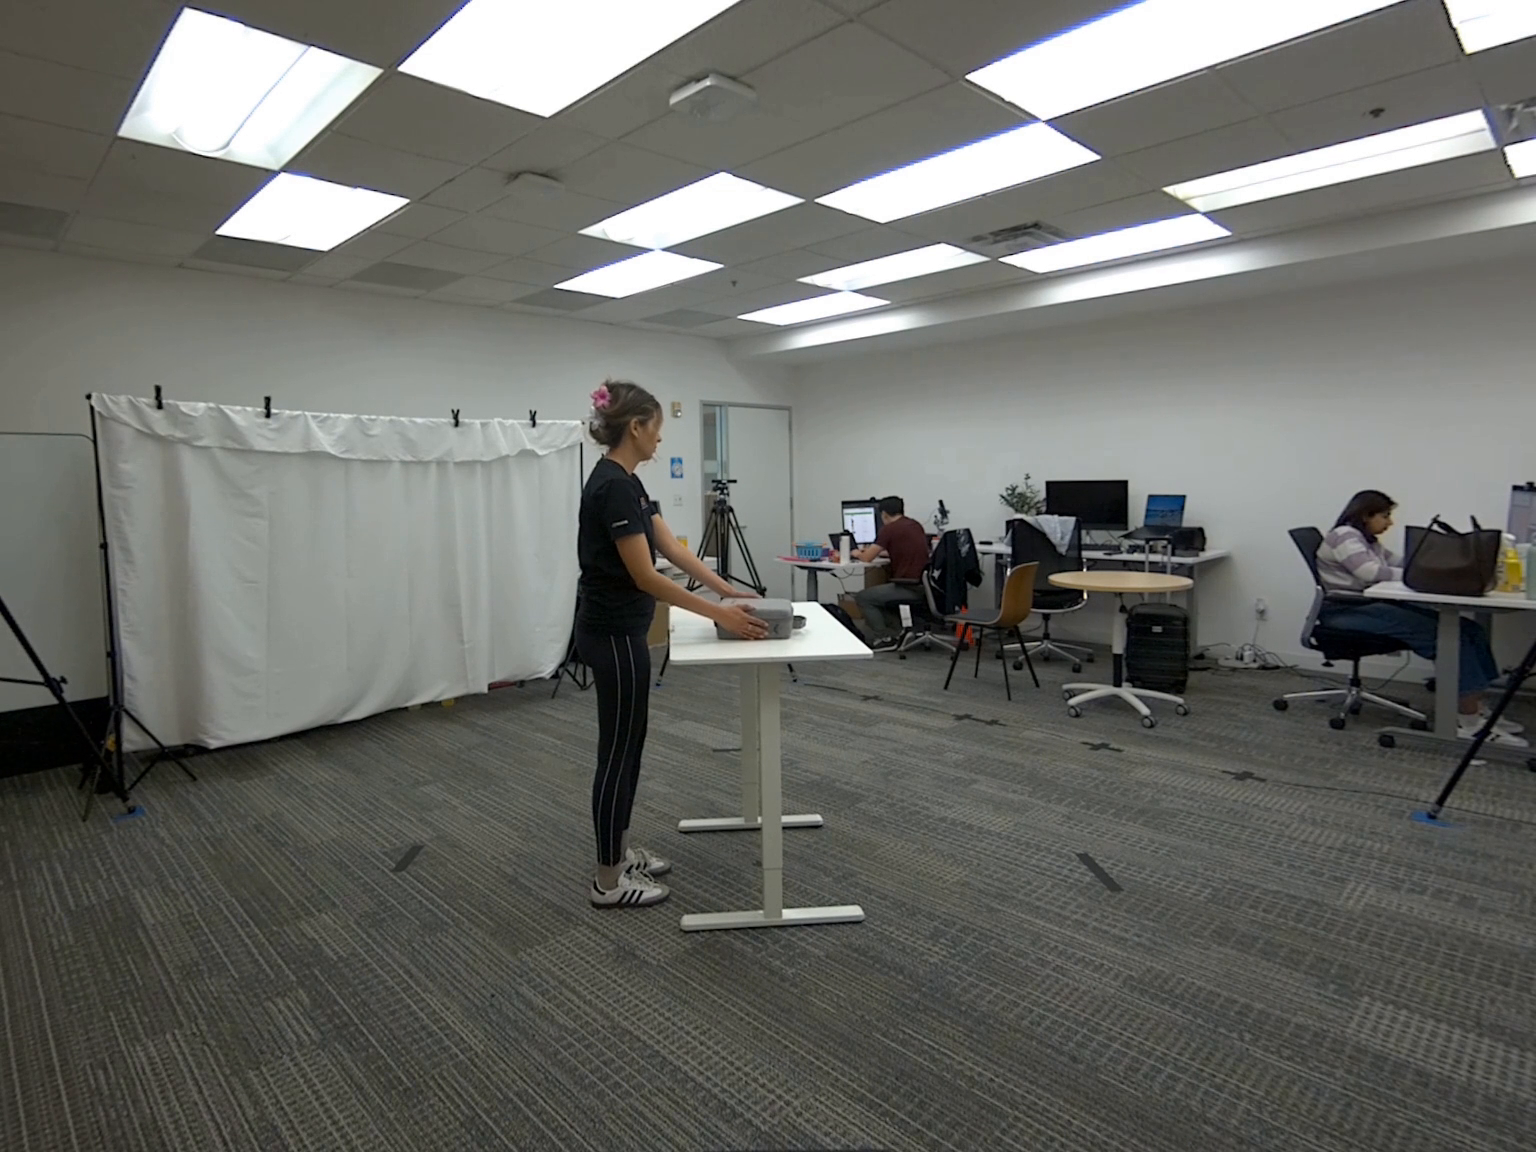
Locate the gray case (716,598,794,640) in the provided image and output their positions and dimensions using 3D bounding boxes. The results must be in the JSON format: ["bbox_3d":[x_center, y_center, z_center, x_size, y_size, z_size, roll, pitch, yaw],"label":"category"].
[{"bbox_3d":[-0.041,0.144,2.865,0.261,0.104,0.257,1,6,3],"label":"gray case"}]
